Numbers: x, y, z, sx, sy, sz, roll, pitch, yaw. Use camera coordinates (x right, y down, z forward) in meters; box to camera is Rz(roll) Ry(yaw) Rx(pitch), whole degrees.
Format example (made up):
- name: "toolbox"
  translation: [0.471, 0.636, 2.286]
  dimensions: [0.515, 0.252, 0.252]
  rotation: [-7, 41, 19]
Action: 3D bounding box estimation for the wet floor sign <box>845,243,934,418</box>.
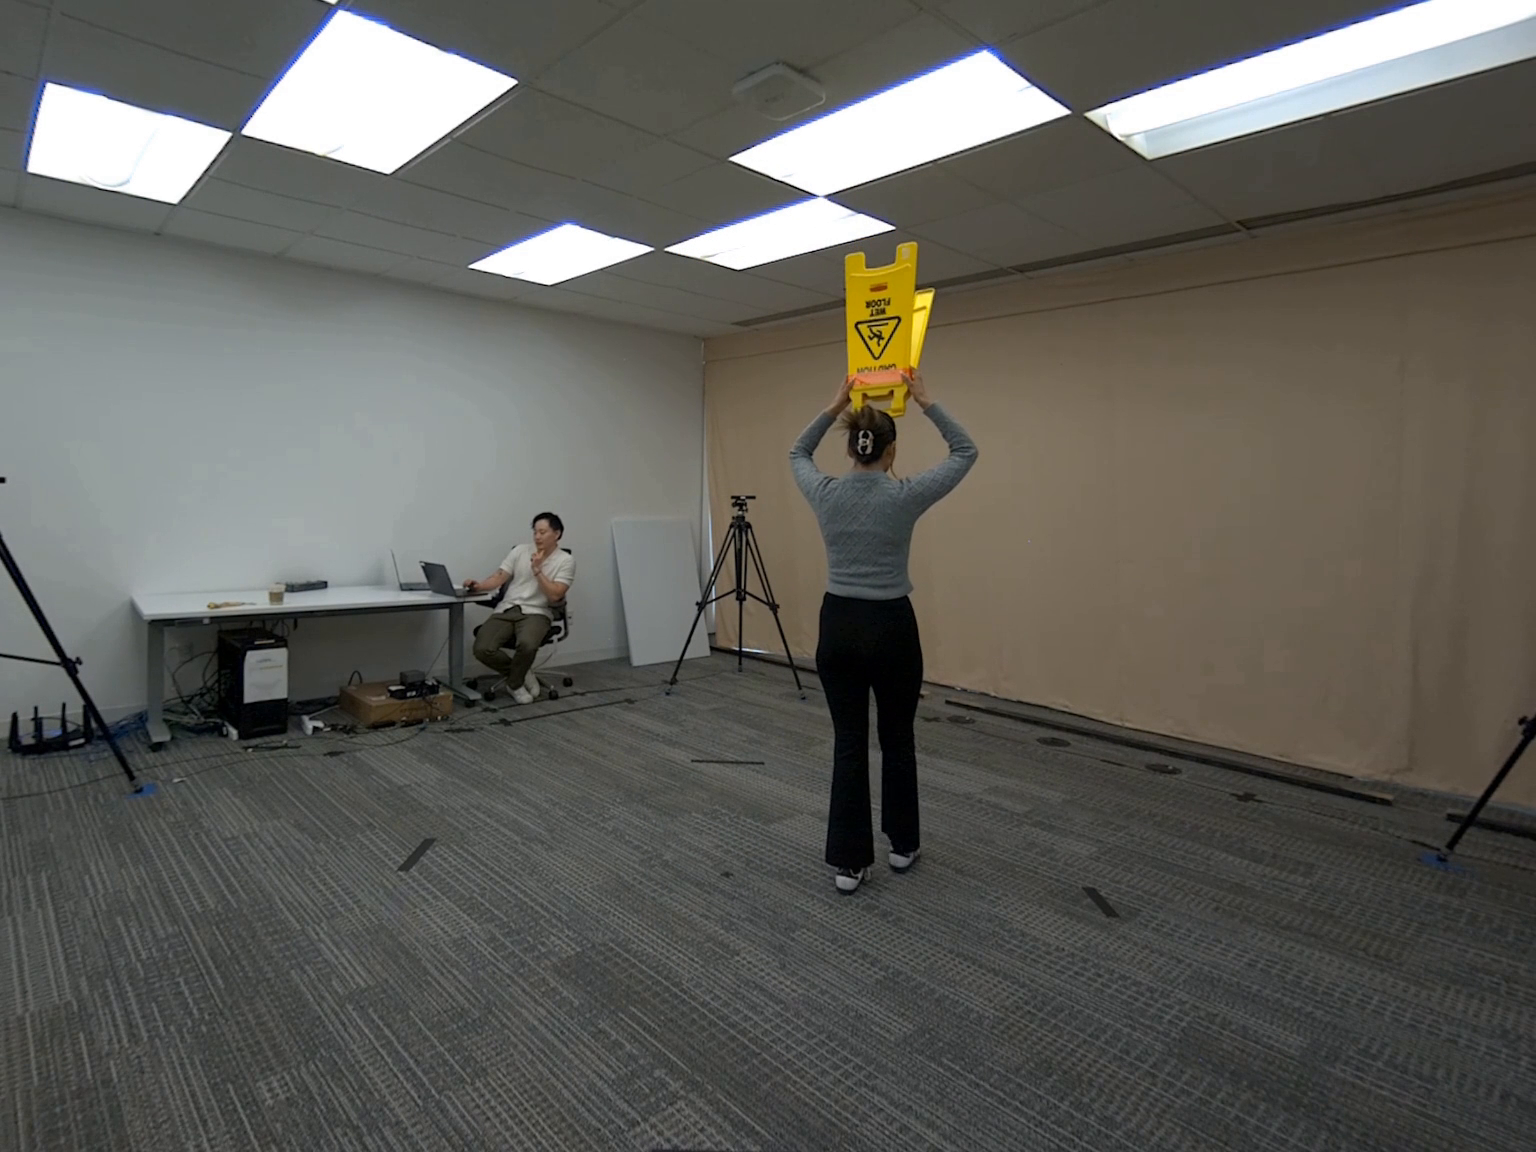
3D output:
- name: "wet floor sign"
  translation: [0.436, -0.883, 3.187]
  dimensions: [0.287, 0.654, 0.281]
  rotation: [-3, -22, 26]
